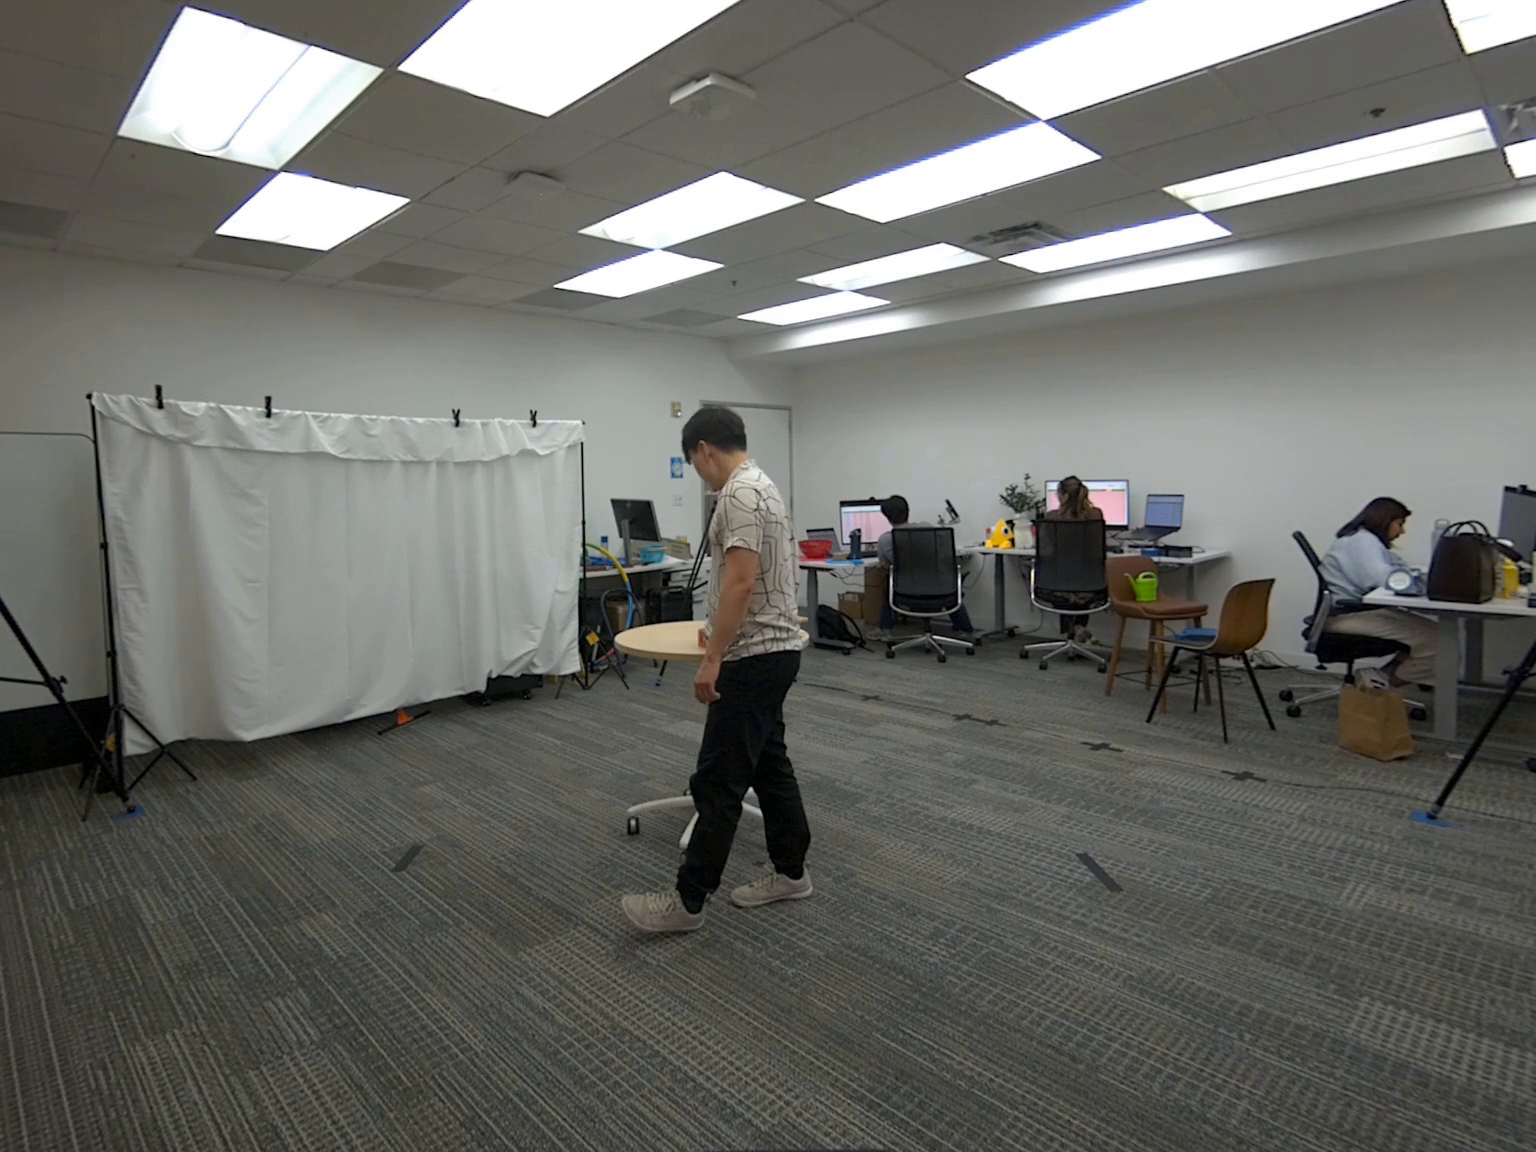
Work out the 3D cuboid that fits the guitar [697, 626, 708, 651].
[{"bbox_3d":[-0.019,0.219,3.230,0.486,0.070,0.198,-4,7,-31],"label":"guitar"}]
